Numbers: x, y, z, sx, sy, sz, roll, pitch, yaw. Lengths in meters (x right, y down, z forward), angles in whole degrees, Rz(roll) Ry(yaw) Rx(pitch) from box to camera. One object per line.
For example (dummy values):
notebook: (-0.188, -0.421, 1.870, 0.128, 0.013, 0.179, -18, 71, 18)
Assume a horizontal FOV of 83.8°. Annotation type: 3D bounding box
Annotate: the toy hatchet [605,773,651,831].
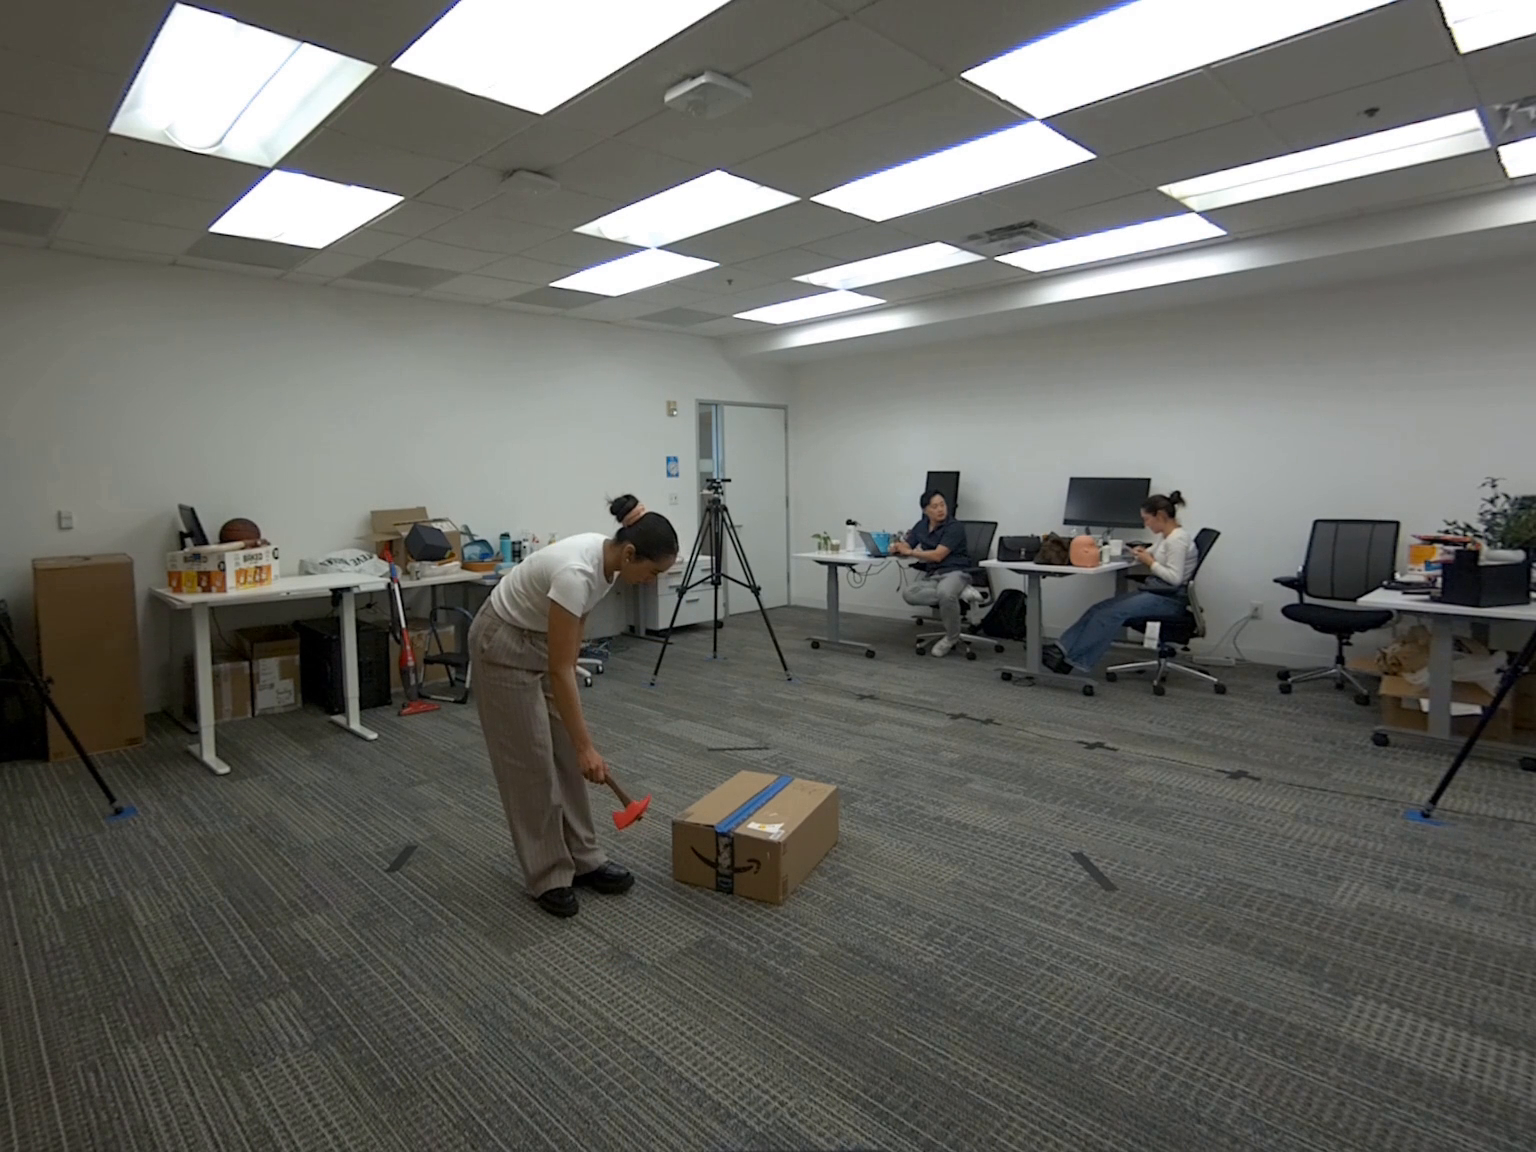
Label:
toy hatchet: (-0.481, 0.673, 2.594, 0.278, 0.132, 0.028, 18, -19, 30)
